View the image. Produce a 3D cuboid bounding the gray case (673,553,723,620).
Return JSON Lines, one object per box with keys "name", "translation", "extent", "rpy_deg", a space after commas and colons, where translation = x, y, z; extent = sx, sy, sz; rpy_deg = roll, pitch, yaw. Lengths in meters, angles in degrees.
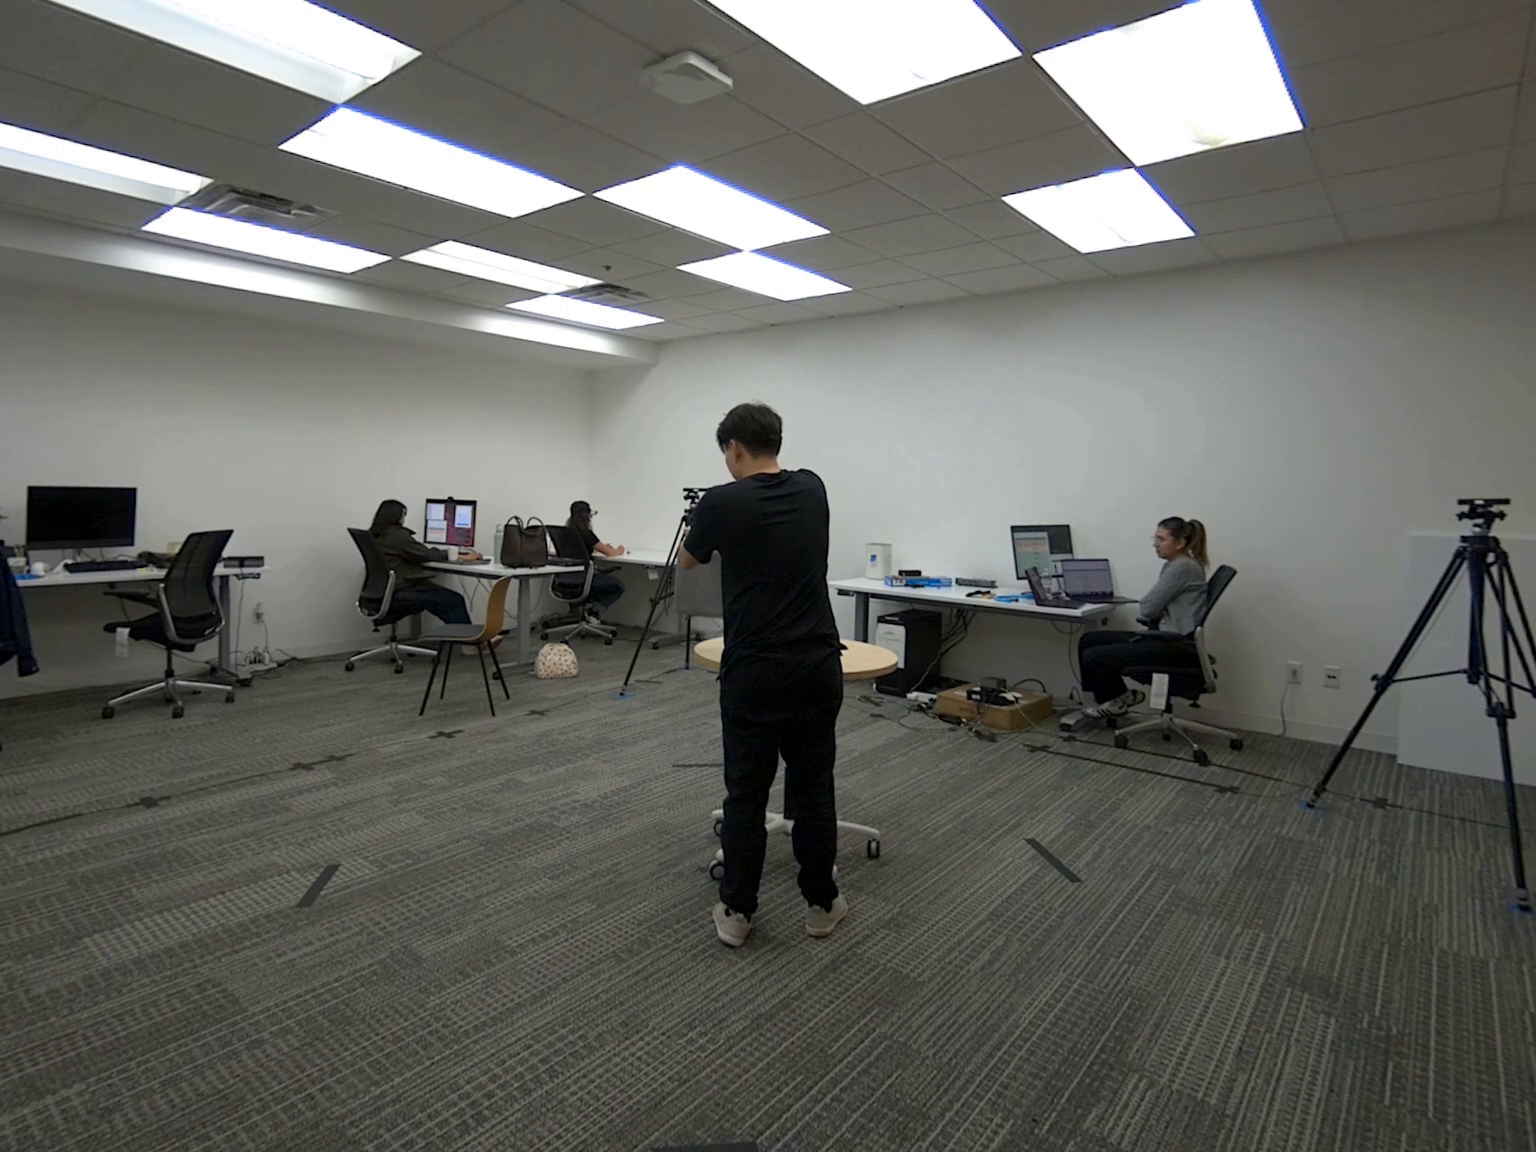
{"name": "gray case", "translation": [-0.230, 0.019, 3.178], "extent": [0.265, 0.260, 0.101], "rpy_deg": [2, 1, 32]}
